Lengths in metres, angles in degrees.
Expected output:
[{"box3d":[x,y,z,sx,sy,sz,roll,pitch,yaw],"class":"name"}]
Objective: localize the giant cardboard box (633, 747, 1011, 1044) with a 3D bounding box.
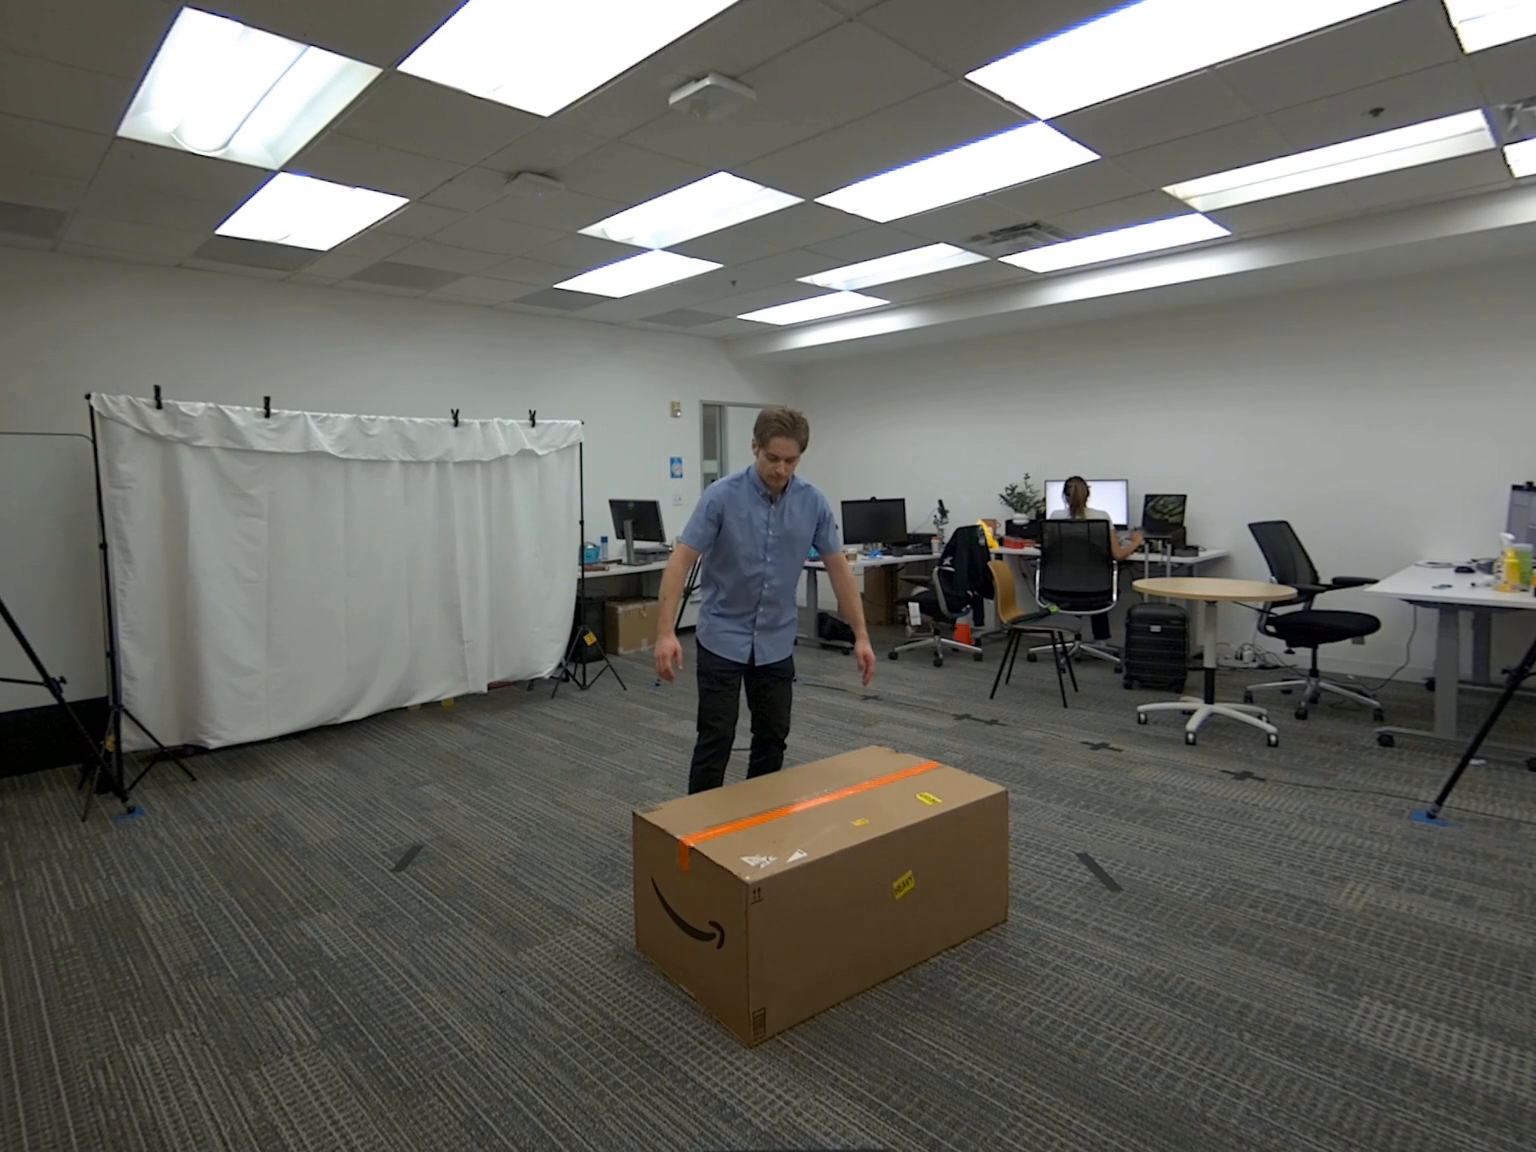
[{"box3d":[0.177,0.886,2.610,1.002,0.445,0.601,-7,7,-36],"class":"giant cardboard box"}]
